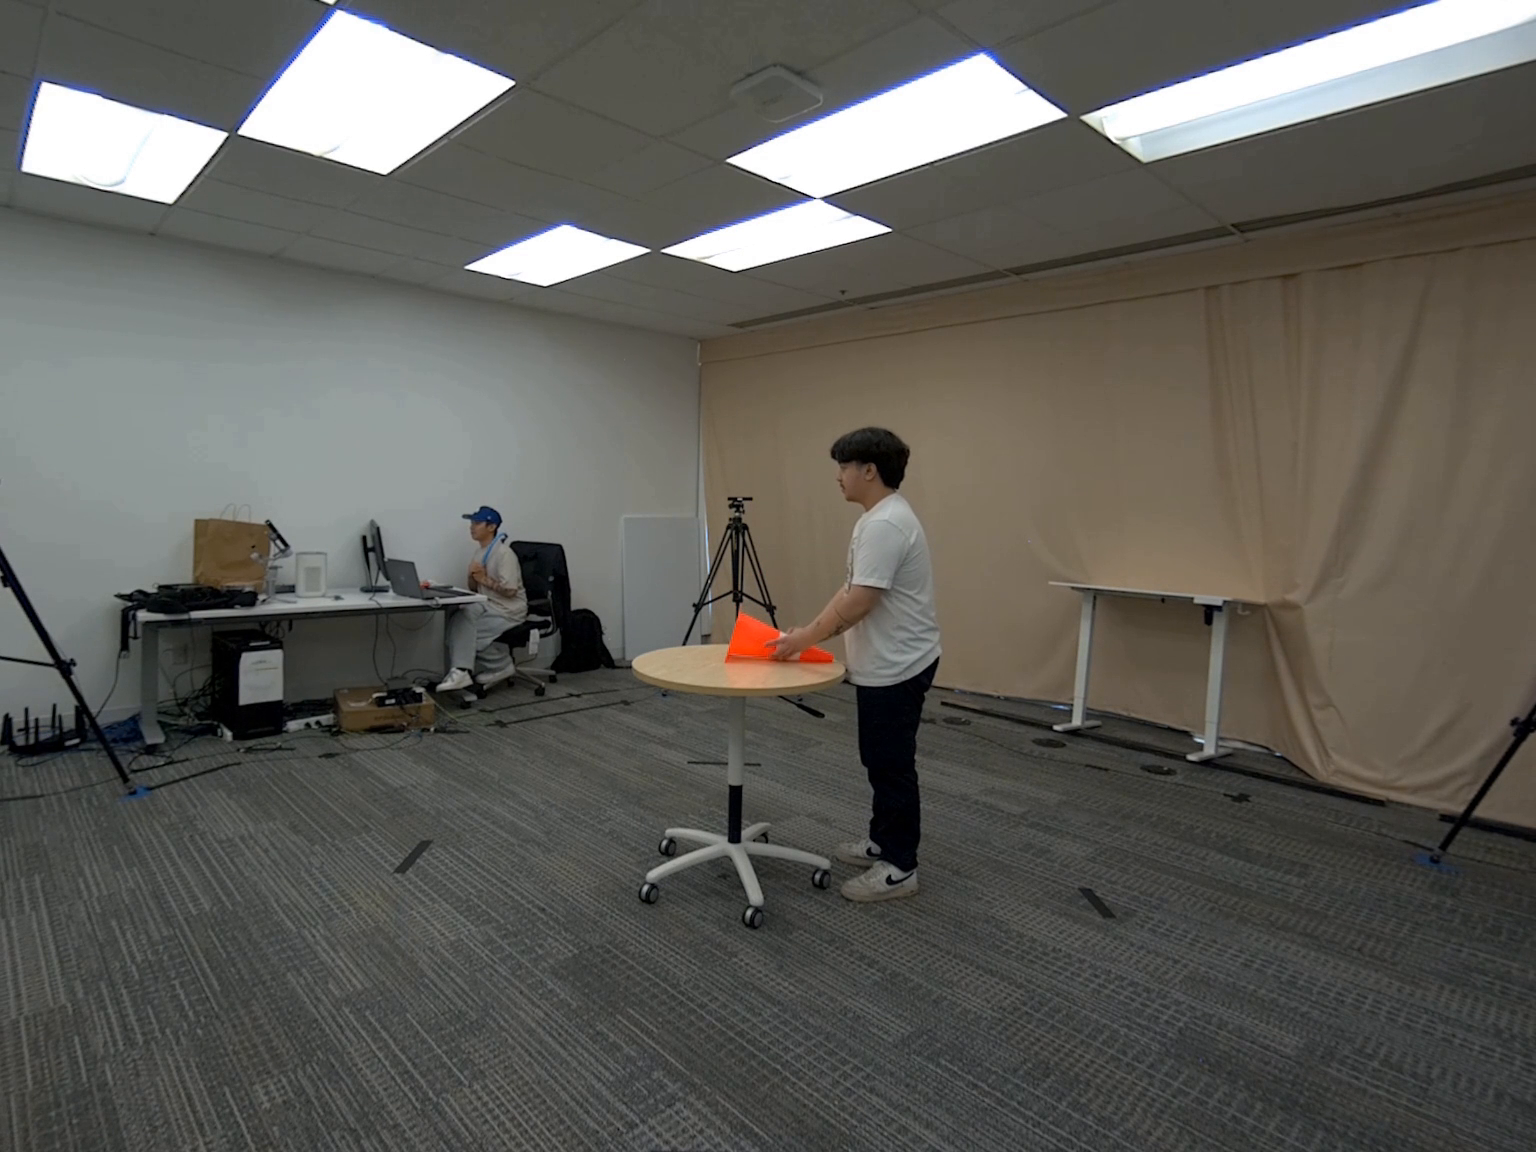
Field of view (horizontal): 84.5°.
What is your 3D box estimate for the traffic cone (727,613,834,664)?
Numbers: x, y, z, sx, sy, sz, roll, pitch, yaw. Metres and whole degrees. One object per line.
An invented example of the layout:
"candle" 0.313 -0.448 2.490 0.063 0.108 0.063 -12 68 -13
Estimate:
"traffic cone" 0.049 0.262 3.093 0.386 0.204 0.203 13 -4 5
